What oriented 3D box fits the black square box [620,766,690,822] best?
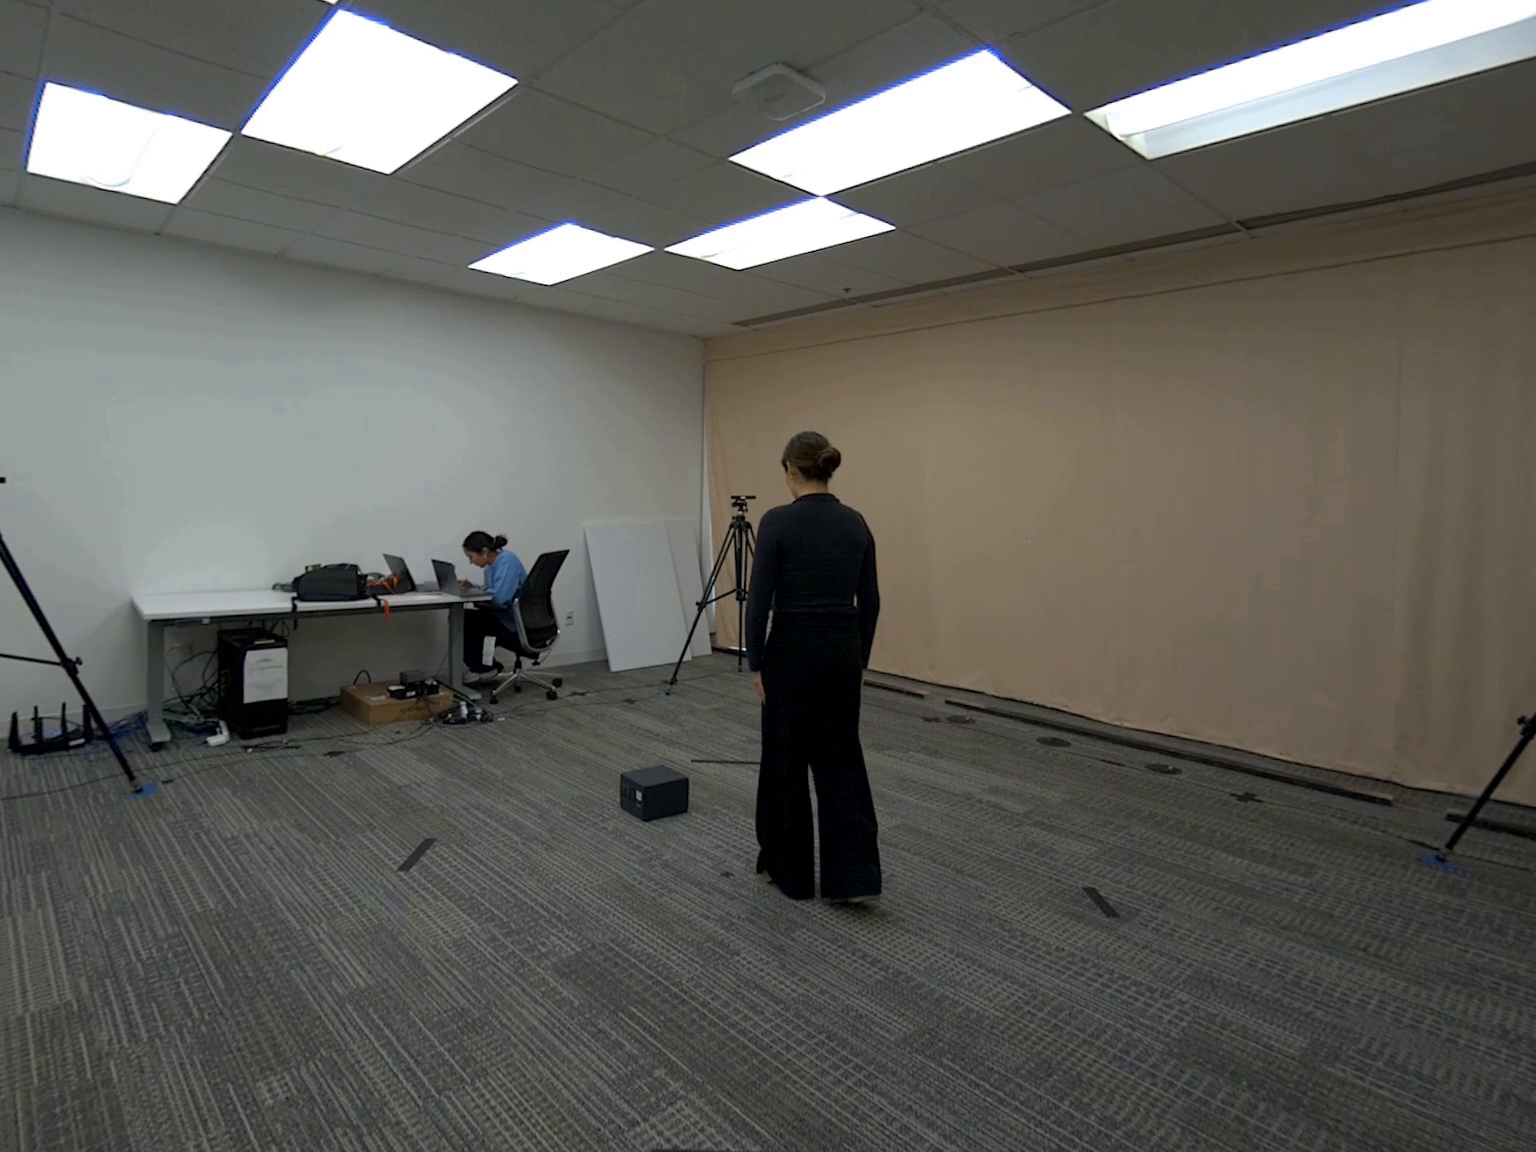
[{"bbox_3d":[-0.511,0.956,3.727,0.223,0.155,0.222,-2,5,-38],"label":"black square box"}]
